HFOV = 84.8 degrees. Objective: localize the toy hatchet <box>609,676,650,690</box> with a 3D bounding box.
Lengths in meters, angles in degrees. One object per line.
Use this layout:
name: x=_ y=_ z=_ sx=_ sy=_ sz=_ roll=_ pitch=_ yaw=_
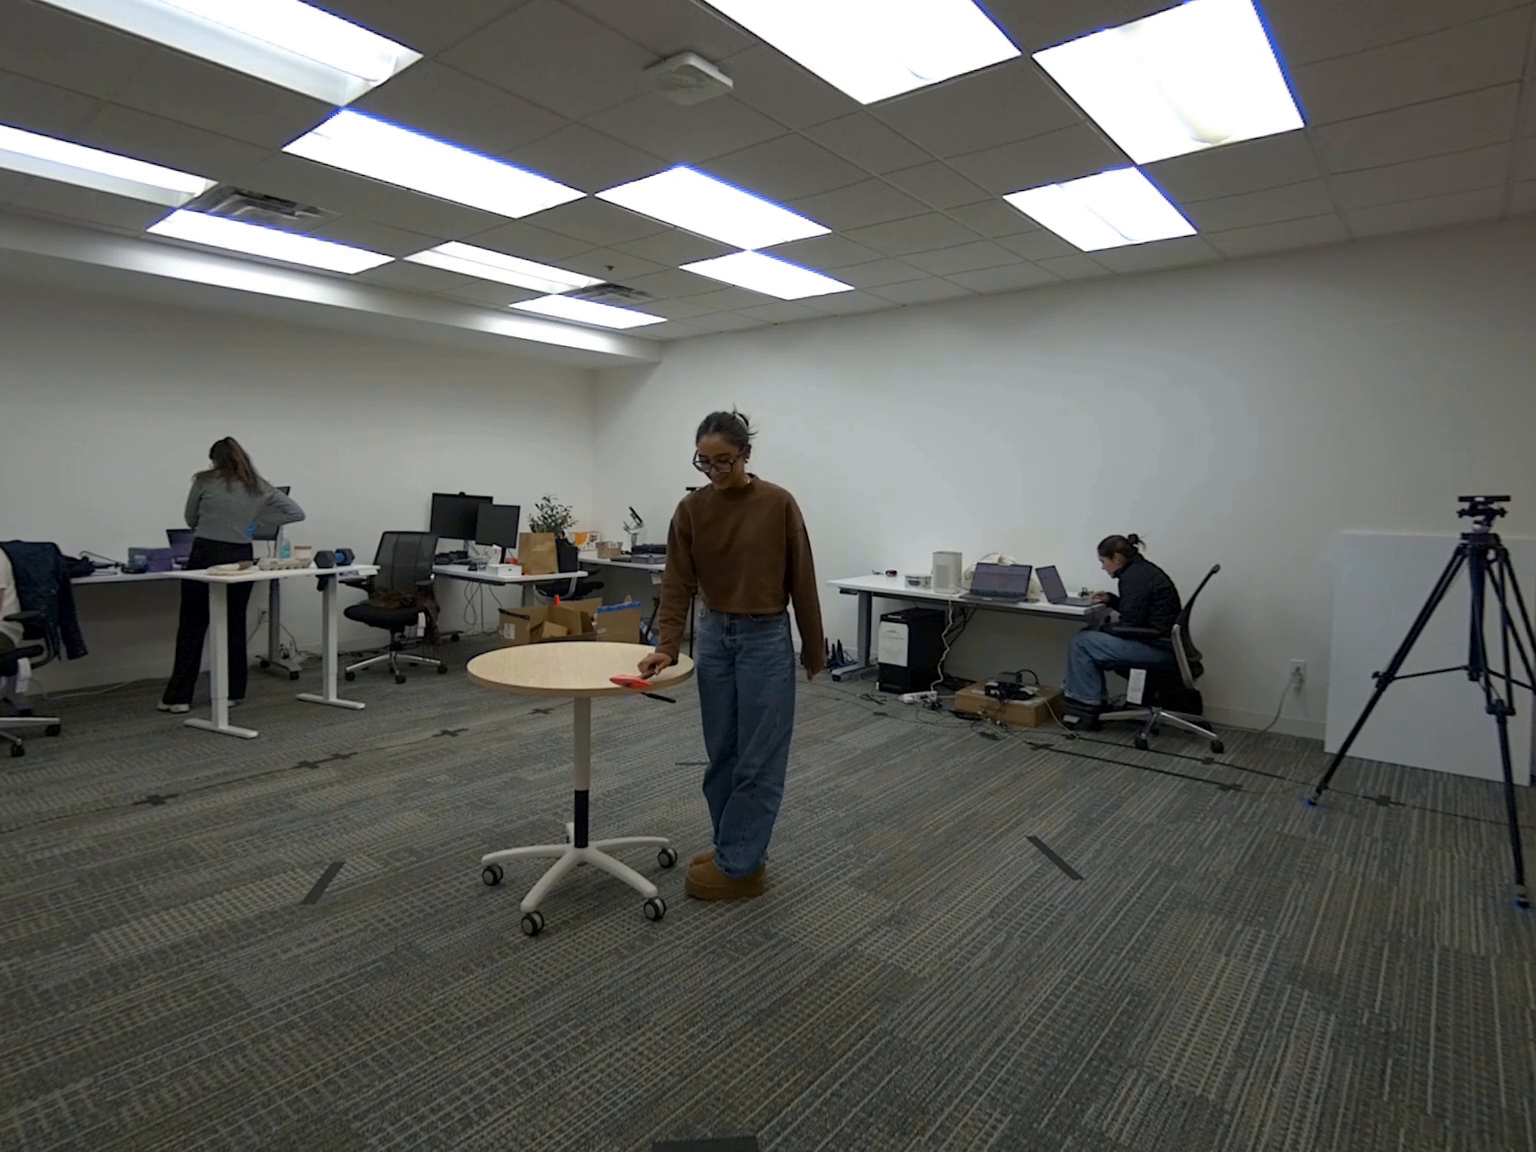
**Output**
toy hatchet: x=-0.368 y=0.302 z=2.583 sx=0.134 sy=0.029 sz=0.266 roll=9 pitch=7 yaw=16
